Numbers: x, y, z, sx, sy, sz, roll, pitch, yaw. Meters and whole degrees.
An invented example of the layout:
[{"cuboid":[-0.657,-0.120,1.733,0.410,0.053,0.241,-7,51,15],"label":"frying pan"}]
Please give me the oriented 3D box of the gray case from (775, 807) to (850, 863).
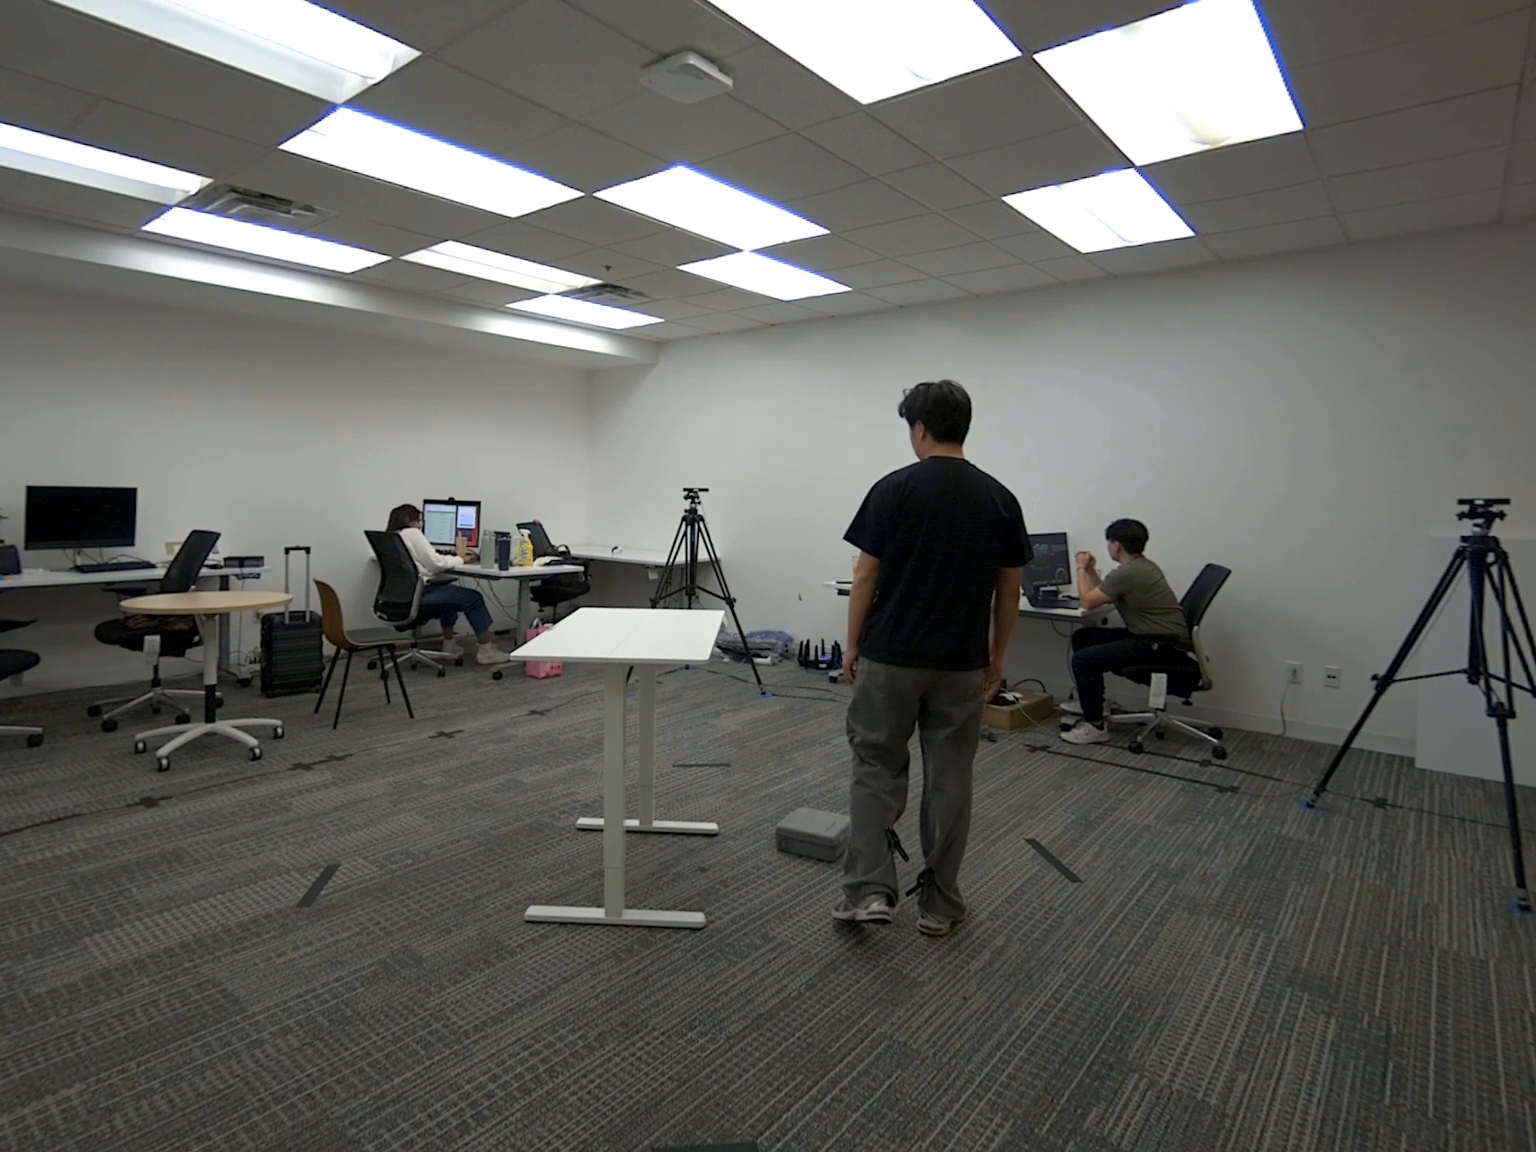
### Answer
[{"cuboid":[0.169,1.004,3.340,0.295,0.103,0.257,3,5,28],"label":"gray case"}]
